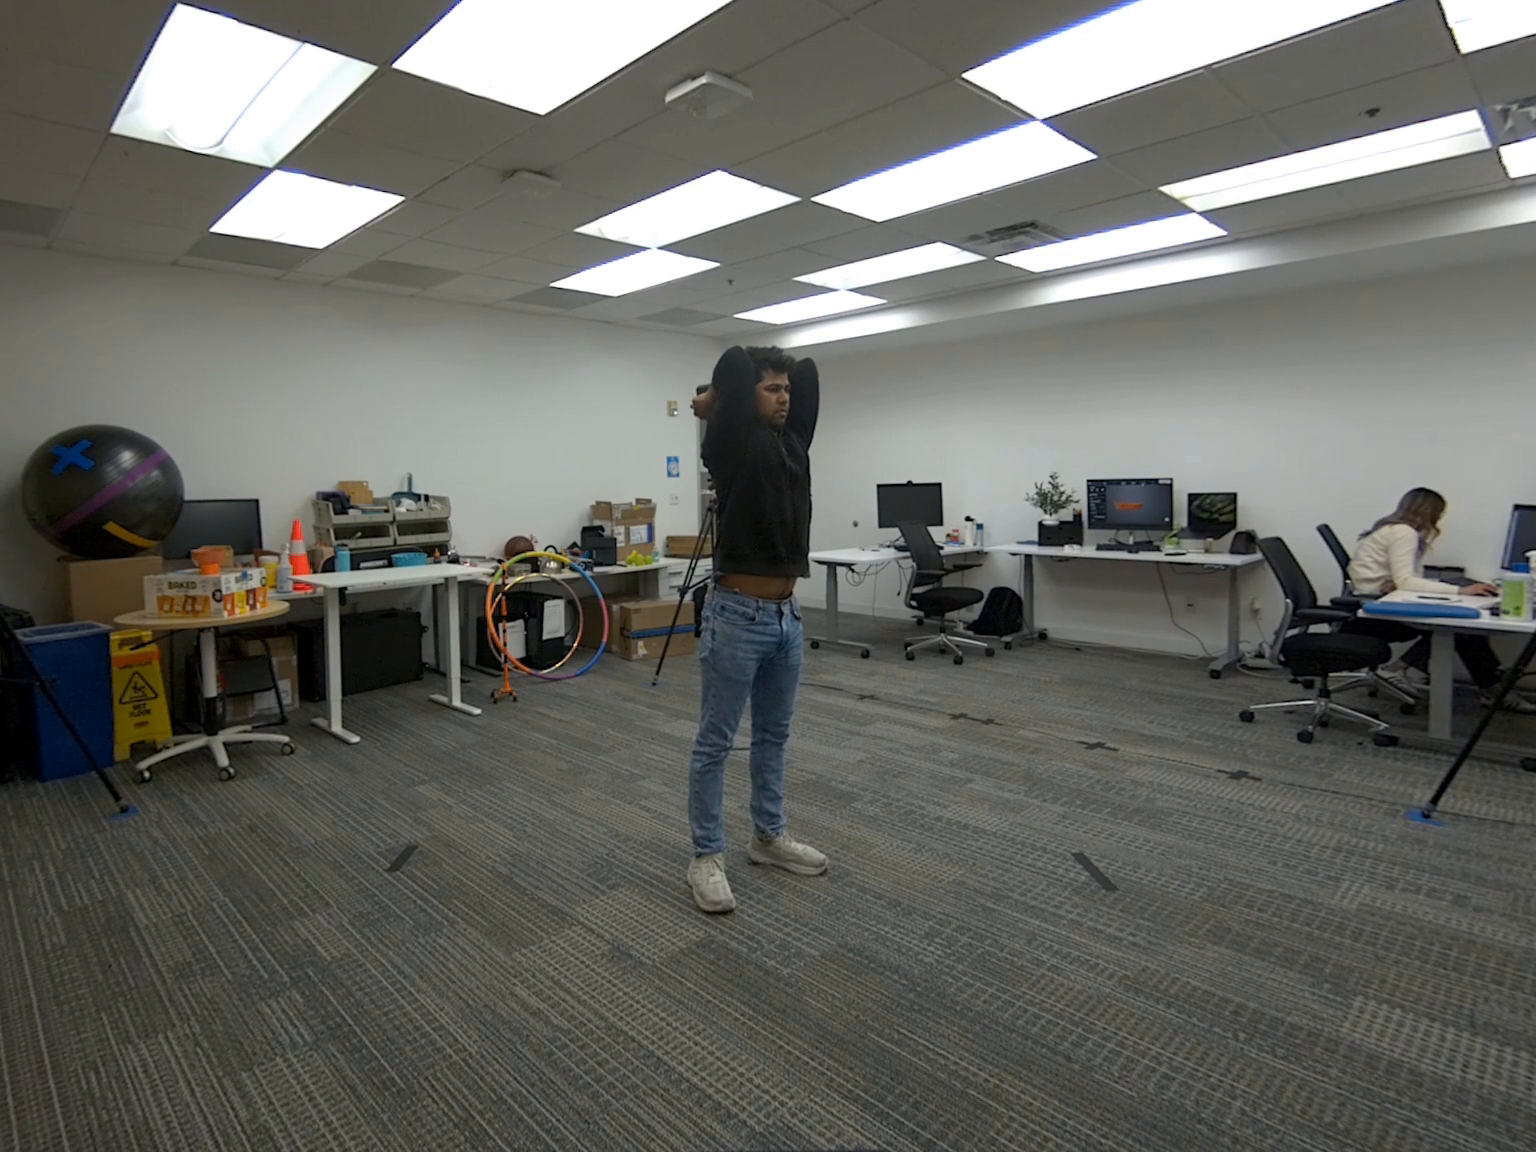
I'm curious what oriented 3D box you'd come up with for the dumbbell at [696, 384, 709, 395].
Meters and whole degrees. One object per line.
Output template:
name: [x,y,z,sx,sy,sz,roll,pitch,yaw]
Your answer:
dumbbell: [-0.159,-0.535,3.014,0.120,0.291,0.112,-9,9,-40]
